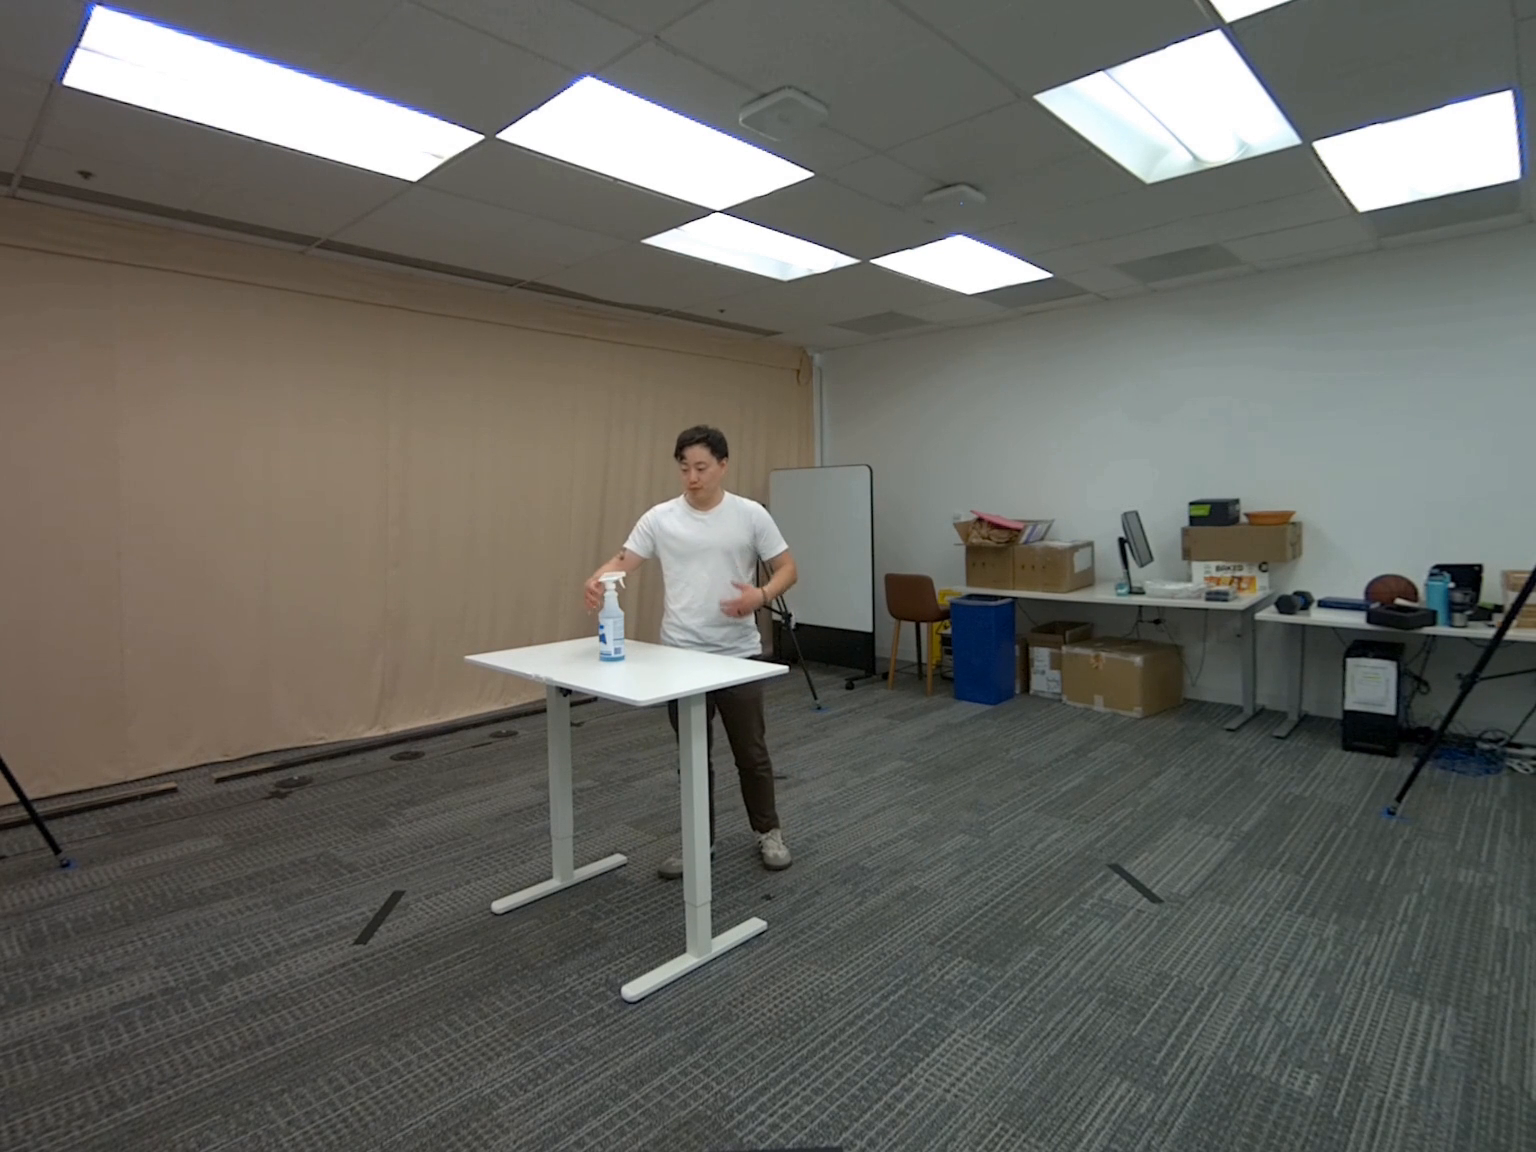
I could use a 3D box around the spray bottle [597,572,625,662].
[{"bbox_3d":[-0.525,0.139,2.831,0.092,0.297,0.085,3,4,24],"label":"spray bottle"}]
